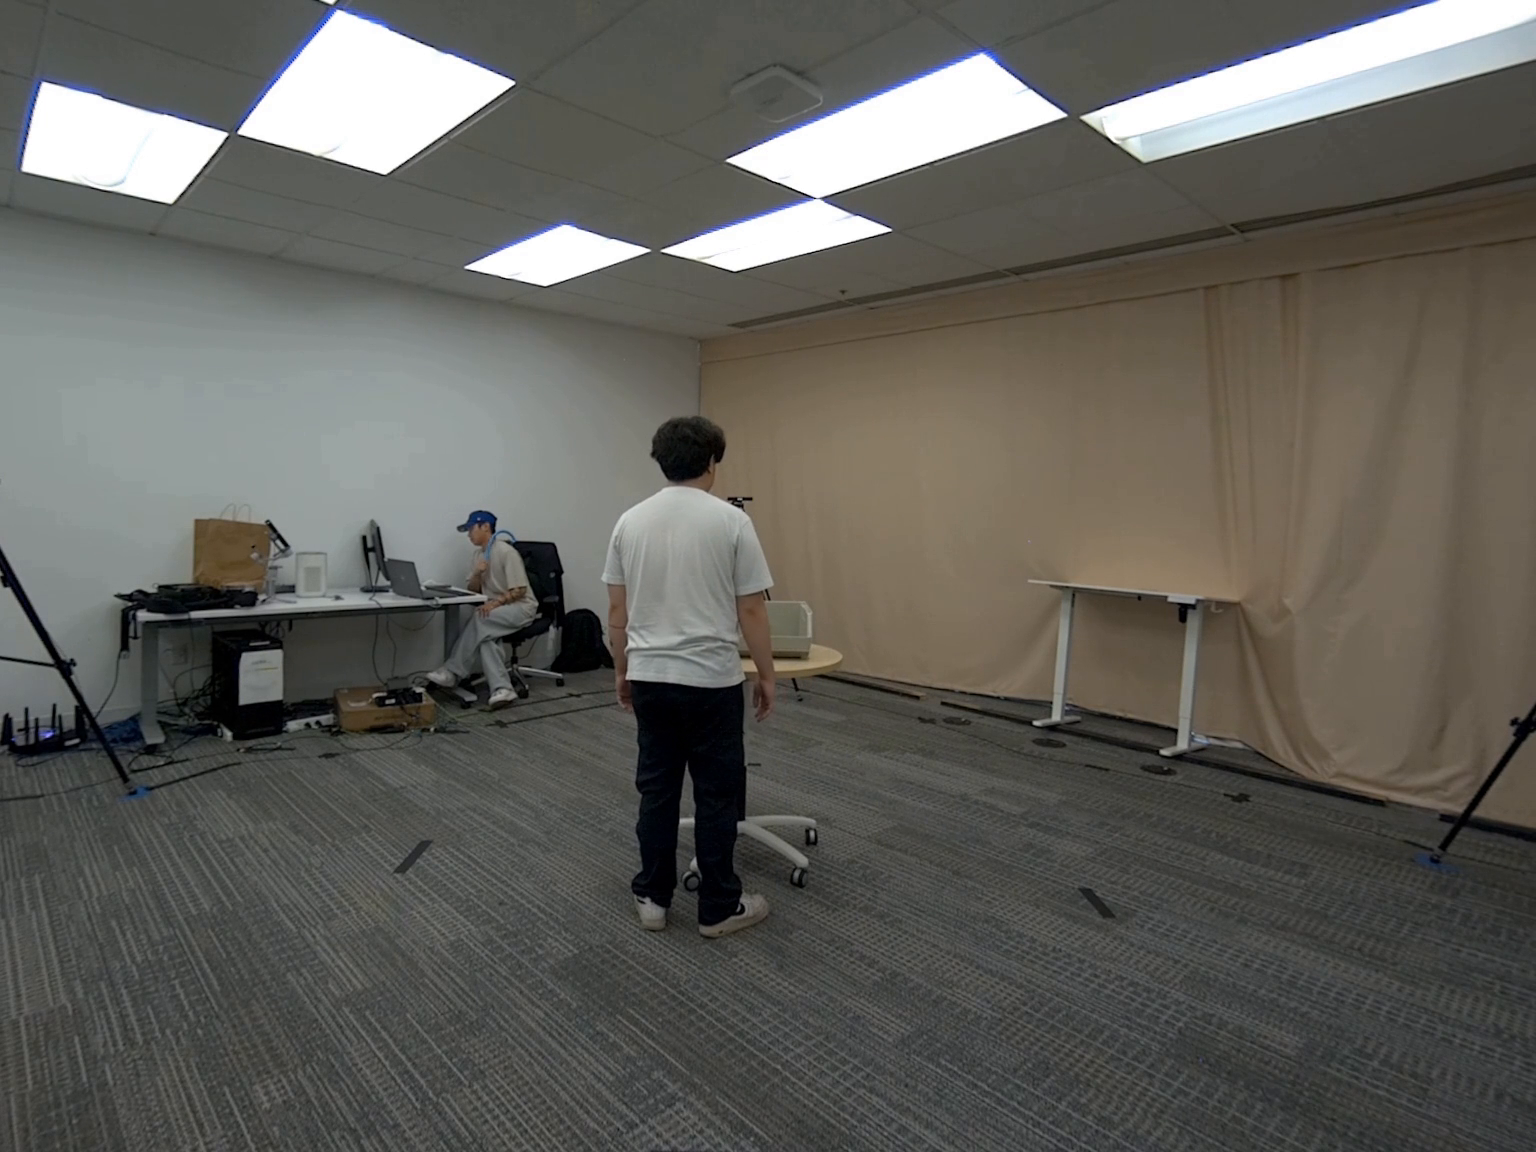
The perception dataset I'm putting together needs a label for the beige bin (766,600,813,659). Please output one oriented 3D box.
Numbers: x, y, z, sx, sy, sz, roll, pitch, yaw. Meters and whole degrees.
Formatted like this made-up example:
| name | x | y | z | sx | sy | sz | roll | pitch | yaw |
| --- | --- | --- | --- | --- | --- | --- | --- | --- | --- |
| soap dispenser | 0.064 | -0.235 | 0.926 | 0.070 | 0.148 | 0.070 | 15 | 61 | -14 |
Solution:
| name | x | y | z | sx | sy | sz | roll | pitch | yaw |
| --- | --- | --- | --- | --- | --- | --- | --- | --- | --- |
| beige bin | -0.056 | 0.218 | 3.267 | 0.422 | 0.188 | 0.378 | 0 | 4 | 0 |
